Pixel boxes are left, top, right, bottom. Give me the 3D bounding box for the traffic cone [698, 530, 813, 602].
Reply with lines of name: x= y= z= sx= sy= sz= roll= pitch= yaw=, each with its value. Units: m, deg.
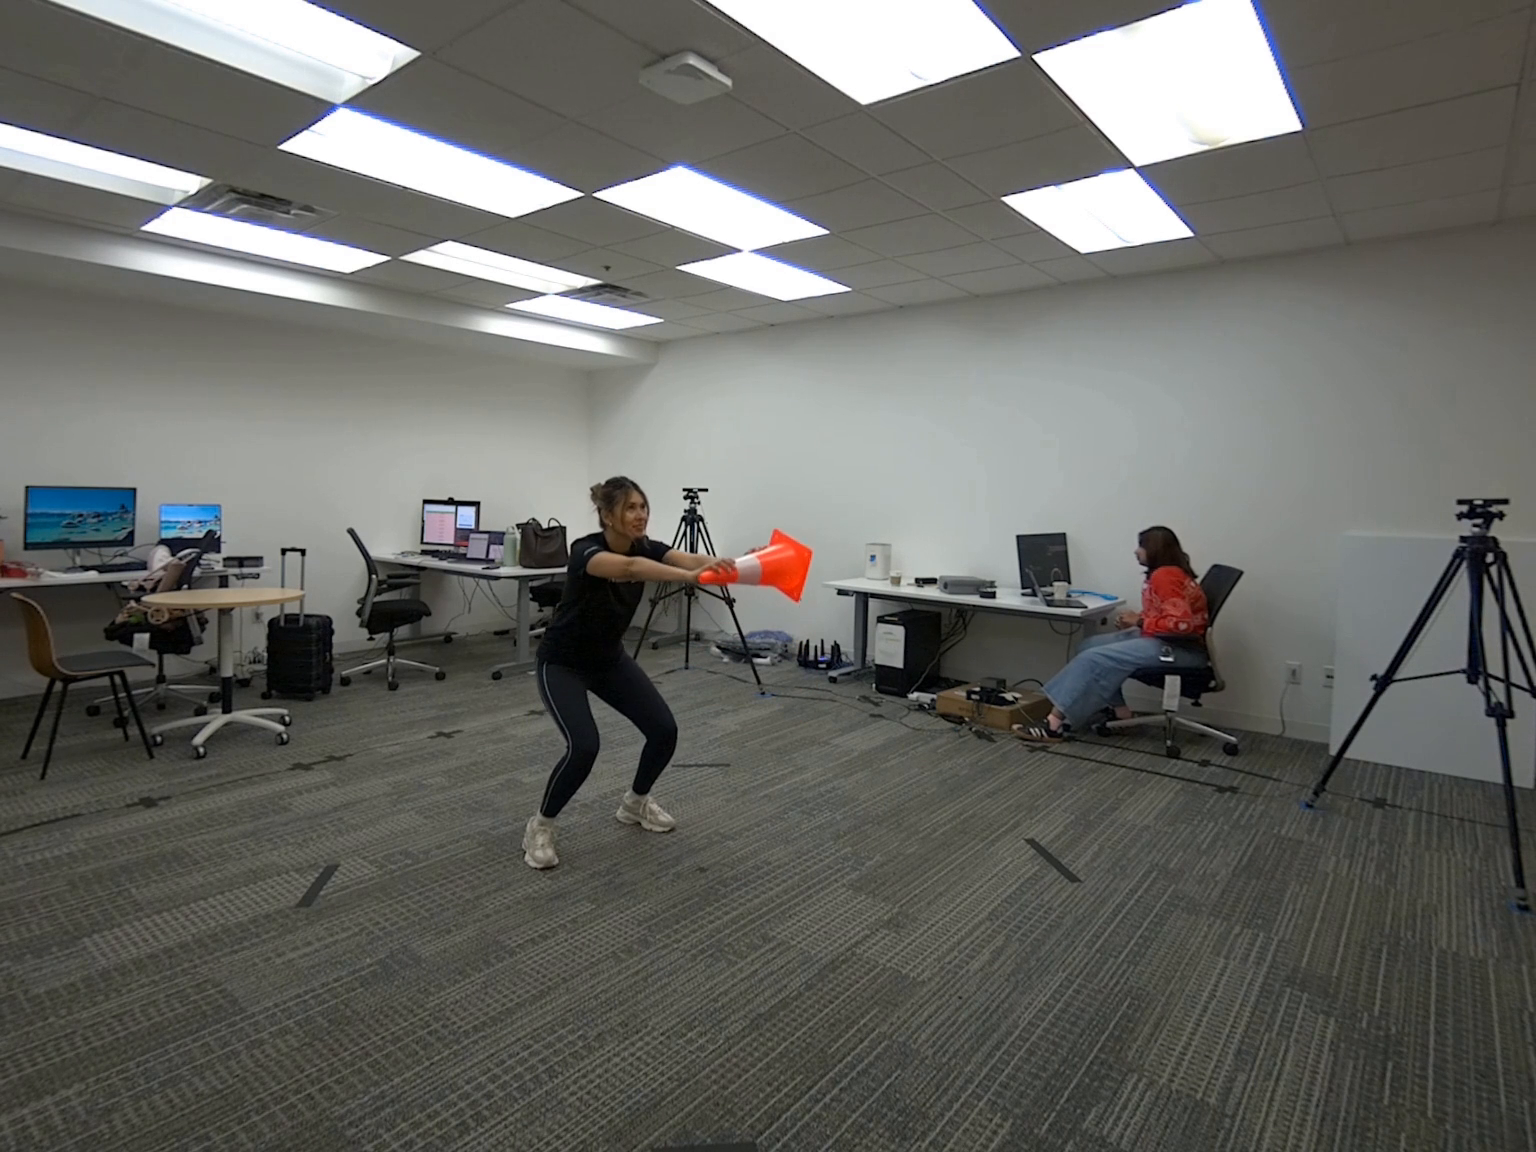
traffic cone: x=-0.084 y=-0.017 z=2.794 sx=0.373 sy=0.202 sz=0.212 roll=-9 pitch=31 yaw=-40
